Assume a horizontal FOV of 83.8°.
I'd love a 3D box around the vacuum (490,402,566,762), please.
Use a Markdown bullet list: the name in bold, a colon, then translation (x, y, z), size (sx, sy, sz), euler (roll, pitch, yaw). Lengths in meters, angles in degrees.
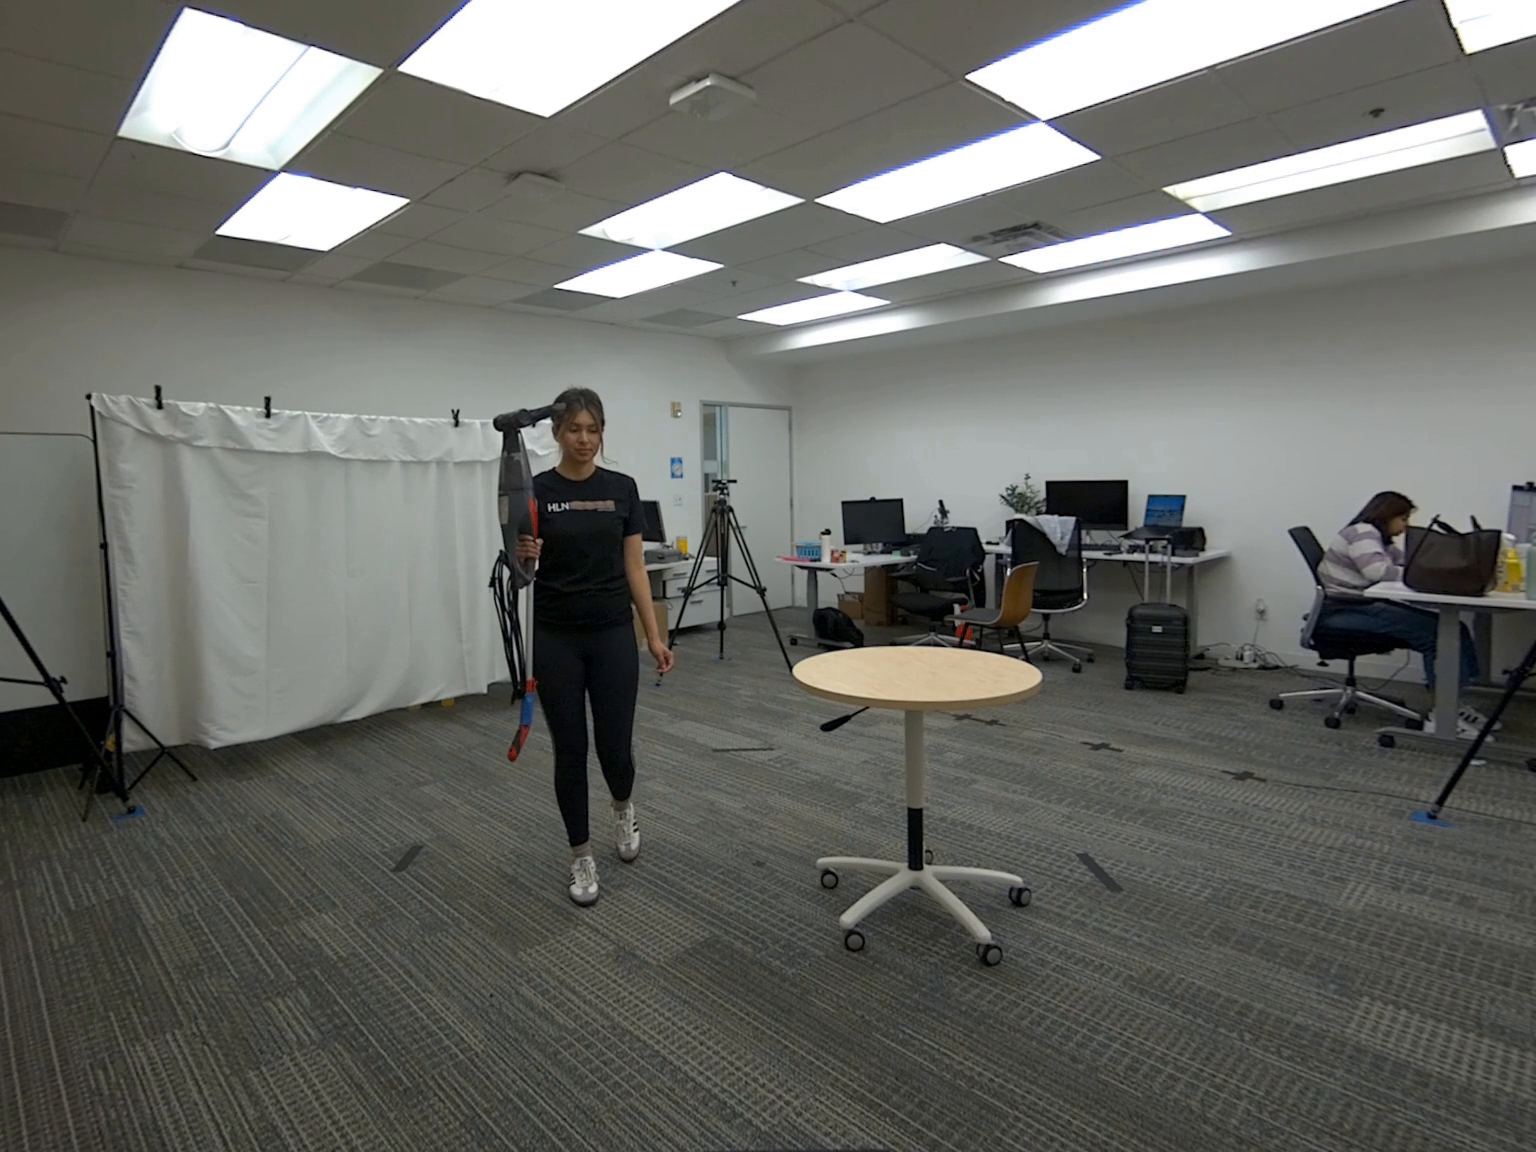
- **vacuum**: translation (-0.762, 0.023, 2.579), size (0.259, 1.055, 0.139), euler (-4, -9, 43)
